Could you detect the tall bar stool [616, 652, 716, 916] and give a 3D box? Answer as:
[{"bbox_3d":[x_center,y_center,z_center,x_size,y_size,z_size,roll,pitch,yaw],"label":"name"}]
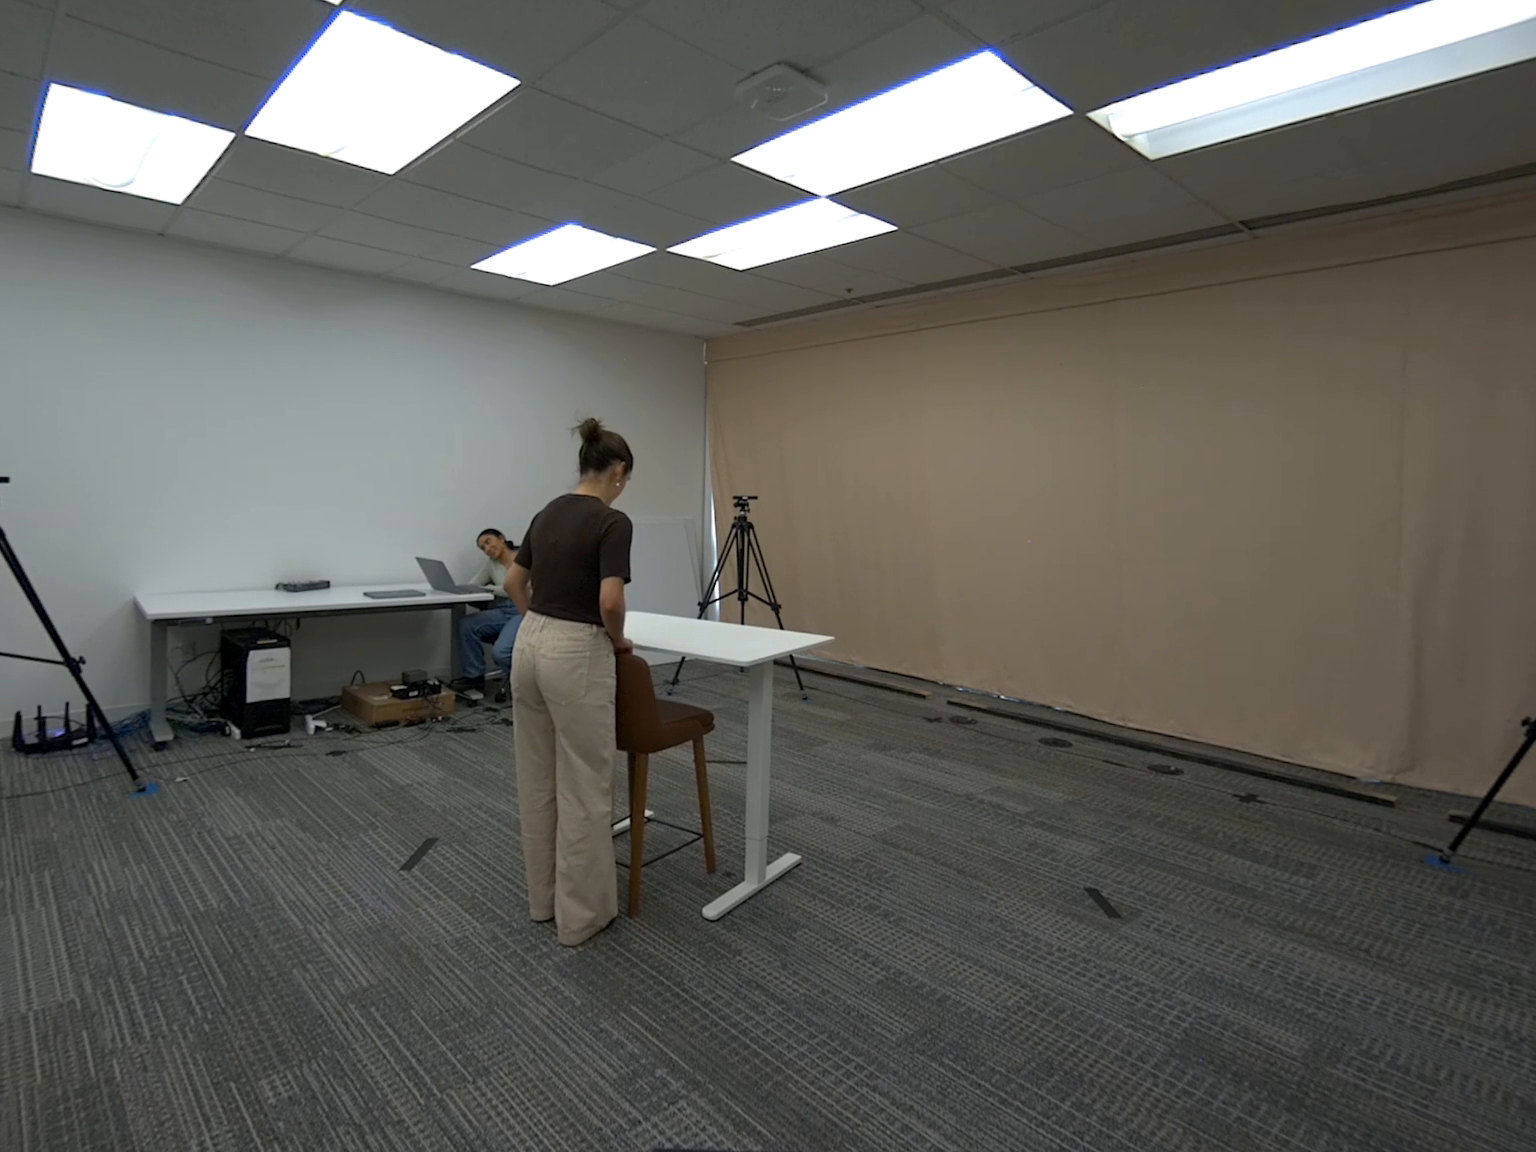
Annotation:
[{"bbox_3d":[-0.479,0.668,3.022,0.467,0.886,0.458,4,7,35],"label":"tall bar stool"}]
